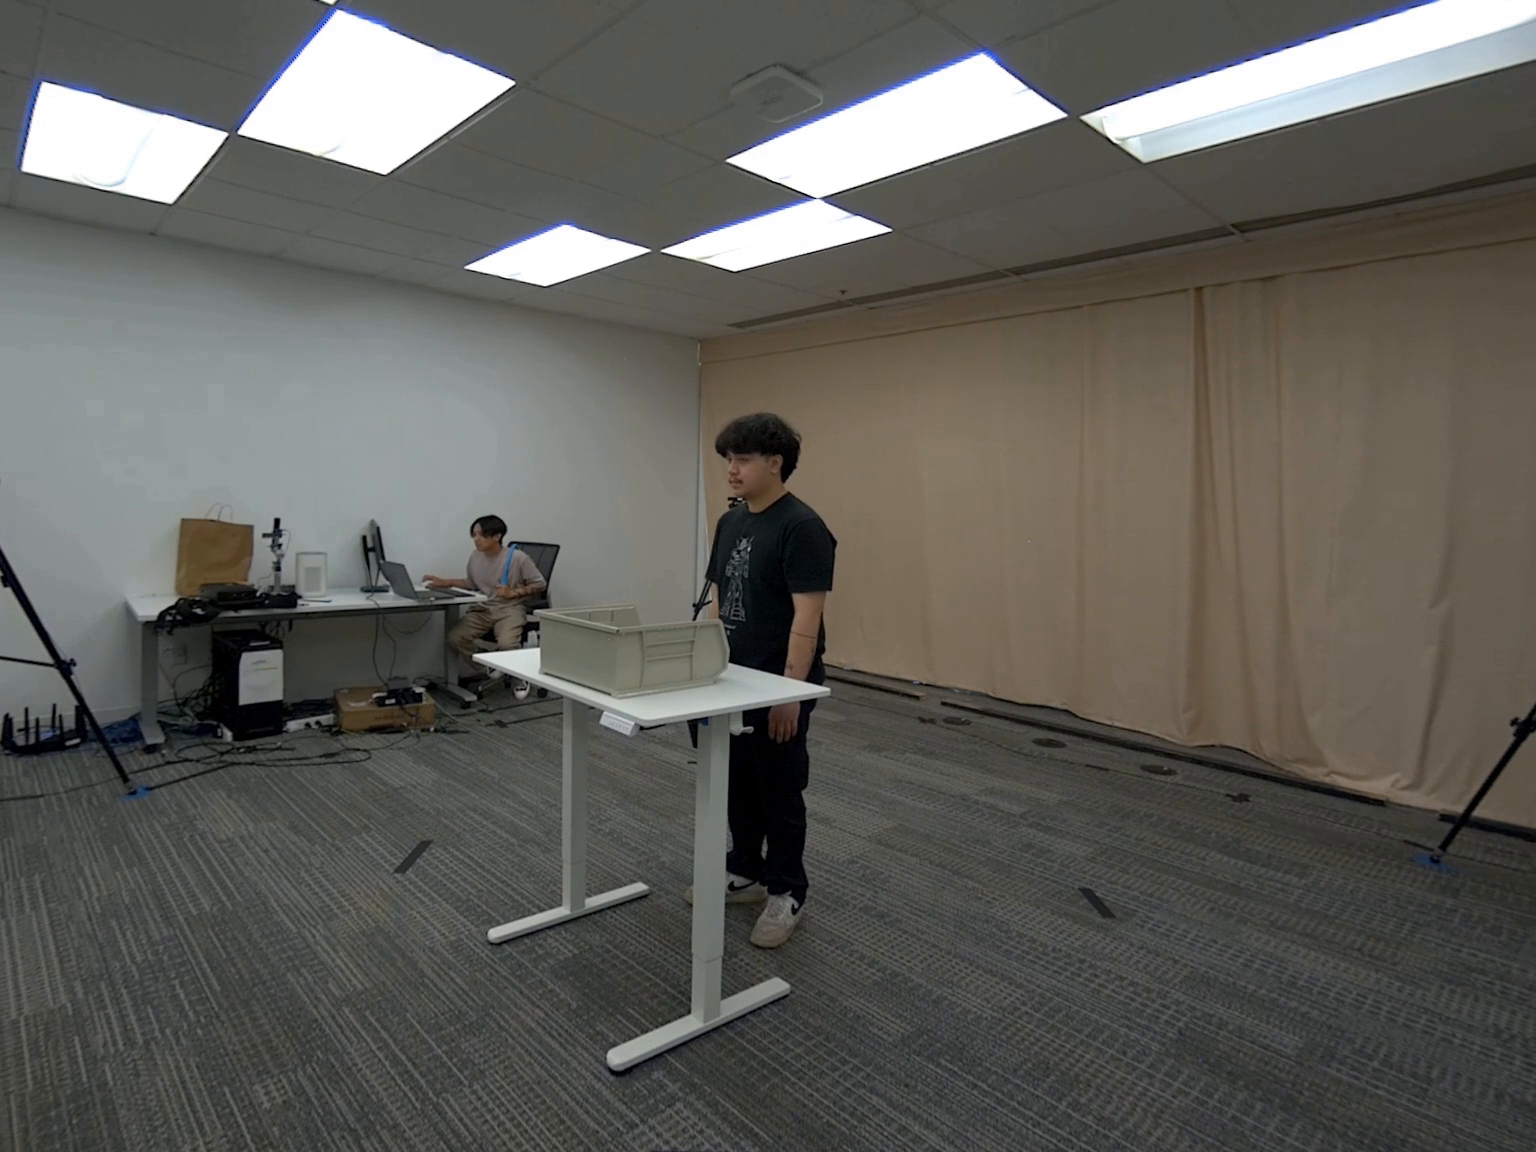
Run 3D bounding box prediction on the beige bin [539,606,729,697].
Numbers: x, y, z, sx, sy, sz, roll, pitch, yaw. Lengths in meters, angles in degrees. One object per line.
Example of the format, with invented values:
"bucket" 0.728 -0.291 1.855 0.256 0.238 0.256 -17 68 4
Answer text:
"beige bin" -0.394 0.202 2.351 0.369 0.188 0.433 -3 6 -42
